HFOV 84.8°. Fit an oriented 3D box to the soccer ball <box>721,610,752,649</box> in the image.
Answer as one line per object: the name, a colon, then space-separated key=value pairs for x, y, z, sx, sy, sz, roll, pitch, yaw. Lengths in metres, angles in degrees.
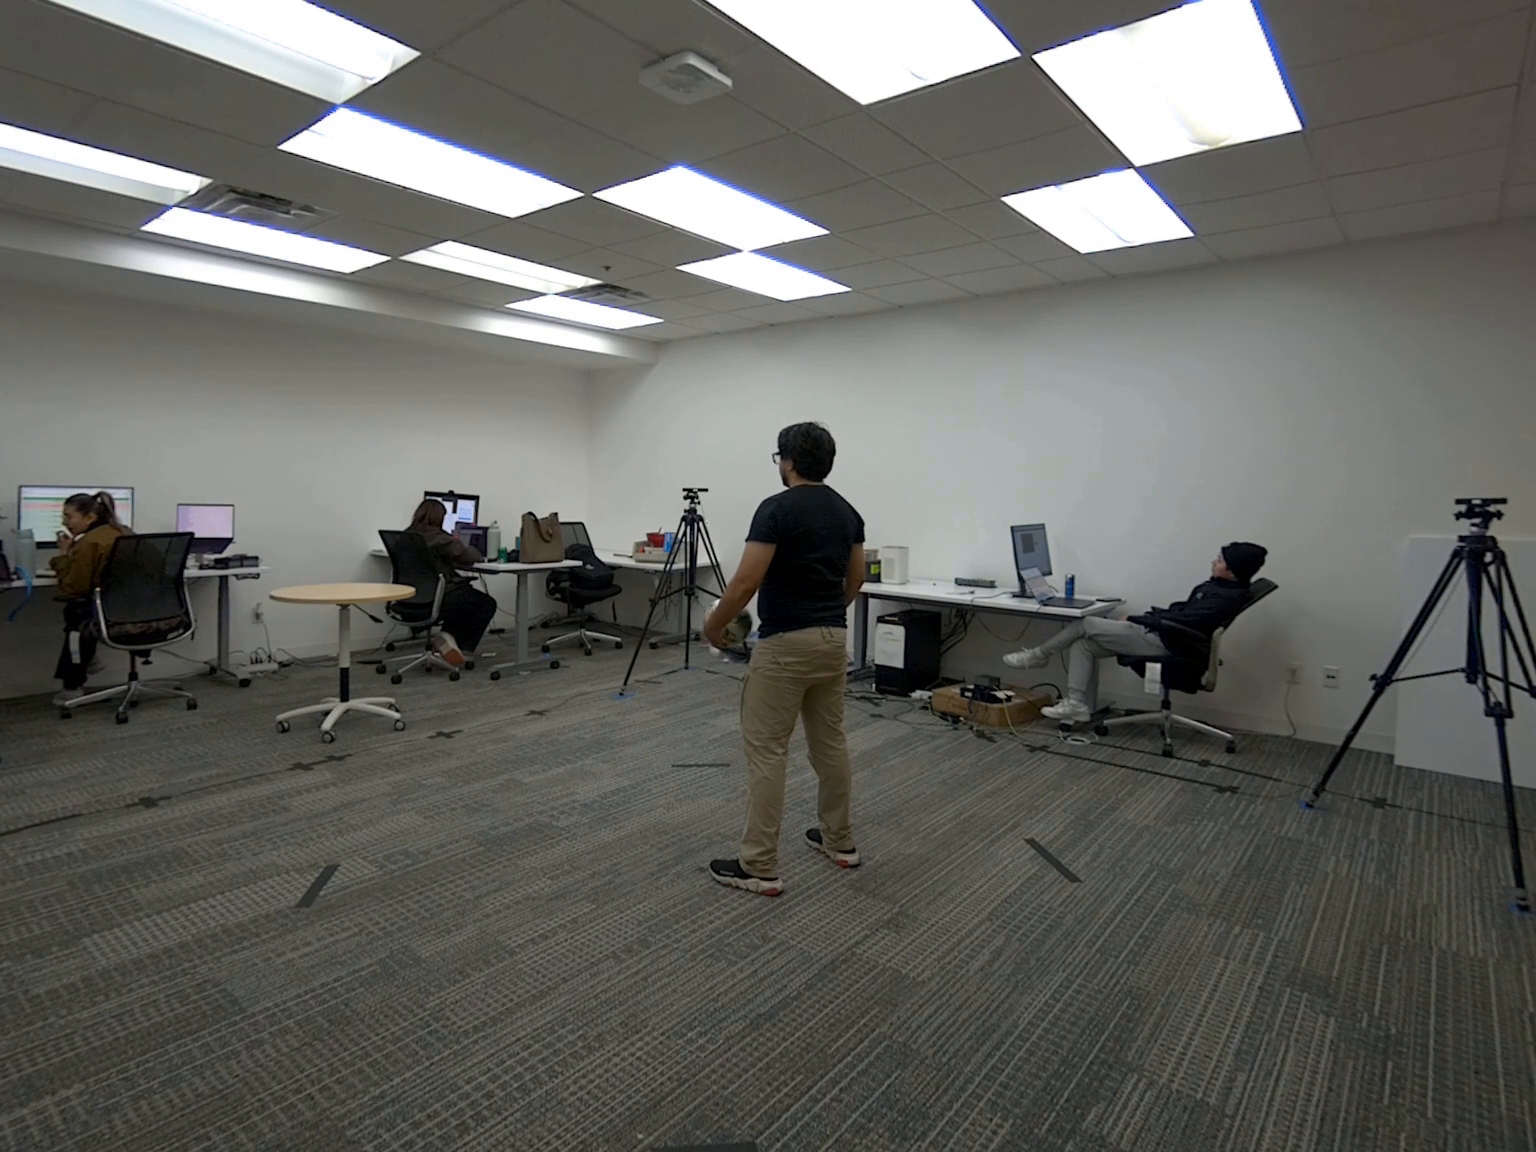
soccer ball: x=-0.164 y=0.174 z=3.262 sx=0.187 sy=0.187 sz=0.188 roll=1 pitch=4 yaw=-2
